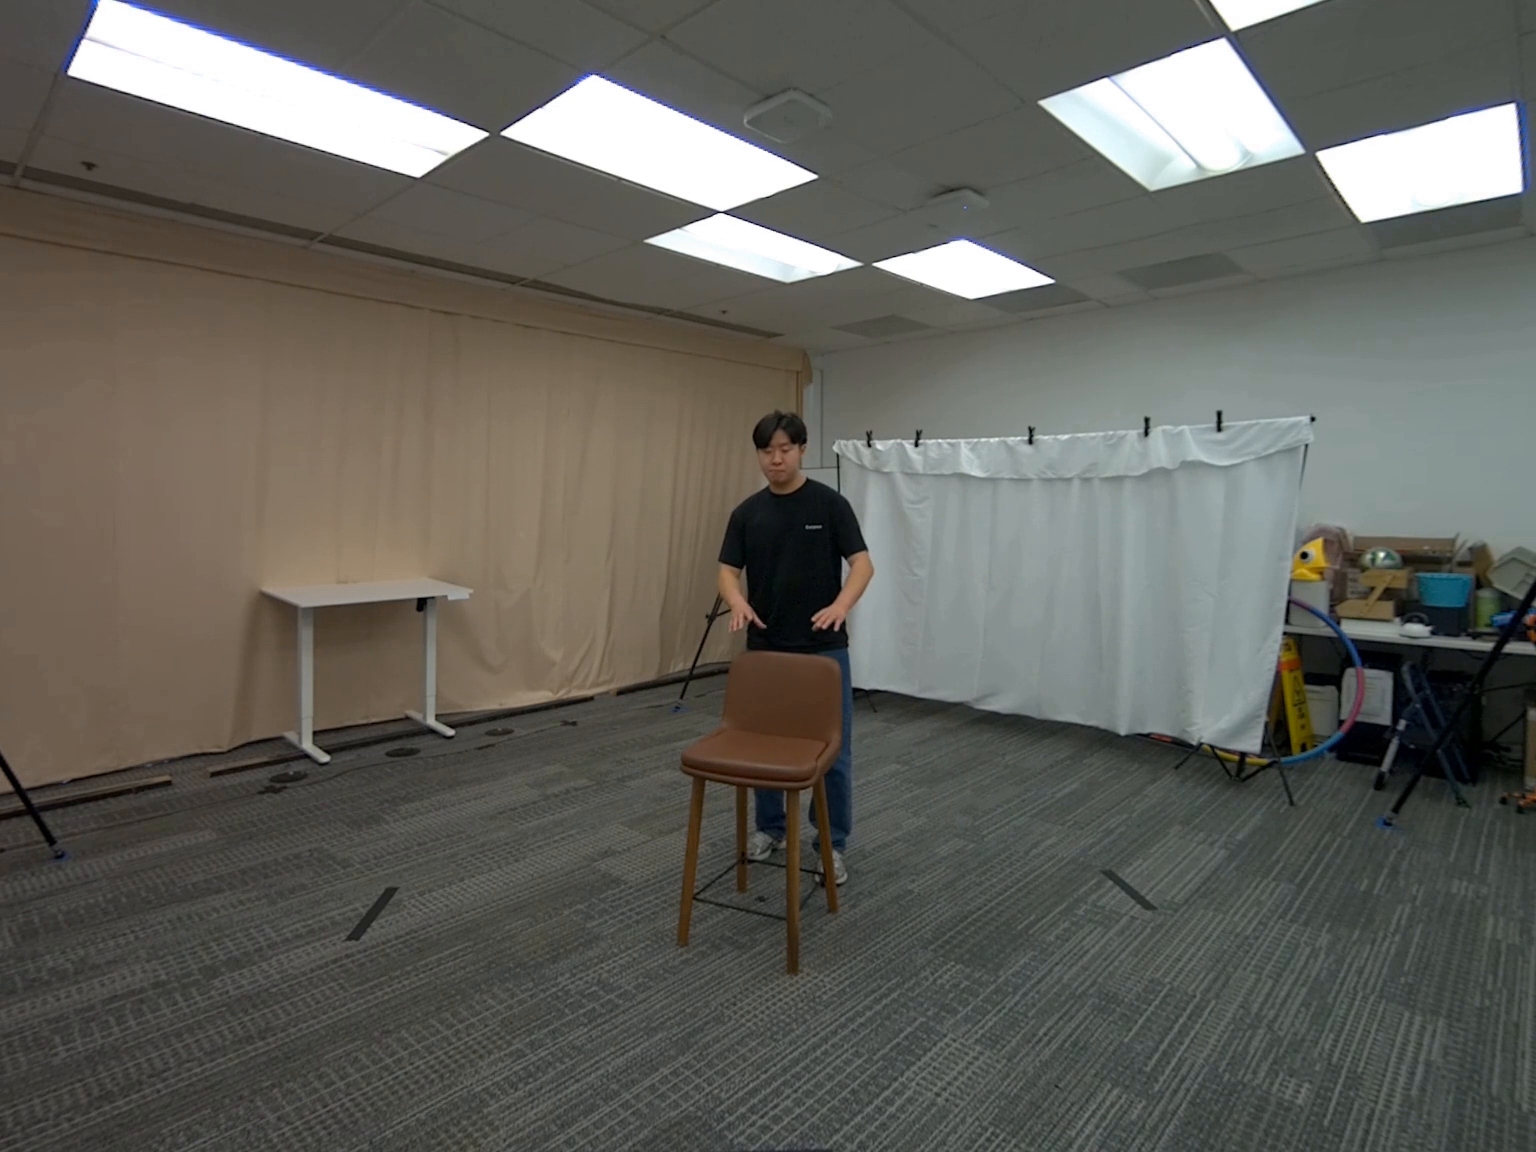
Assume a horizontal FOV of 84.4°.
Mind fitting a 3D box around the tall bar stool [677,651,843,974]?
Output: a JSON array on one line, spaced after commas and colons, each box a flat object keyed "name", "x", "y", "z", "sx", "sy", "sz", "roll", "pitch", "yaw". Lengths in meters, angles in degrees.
[{"name": "tall bar stool", "x": -0.010, "y": 0.720, "z": 2.769, "sx": 0.468, "sy": 0.889, "sz": 0.456, "roll": 2, "pitch": 2, "yaw": 26}]
